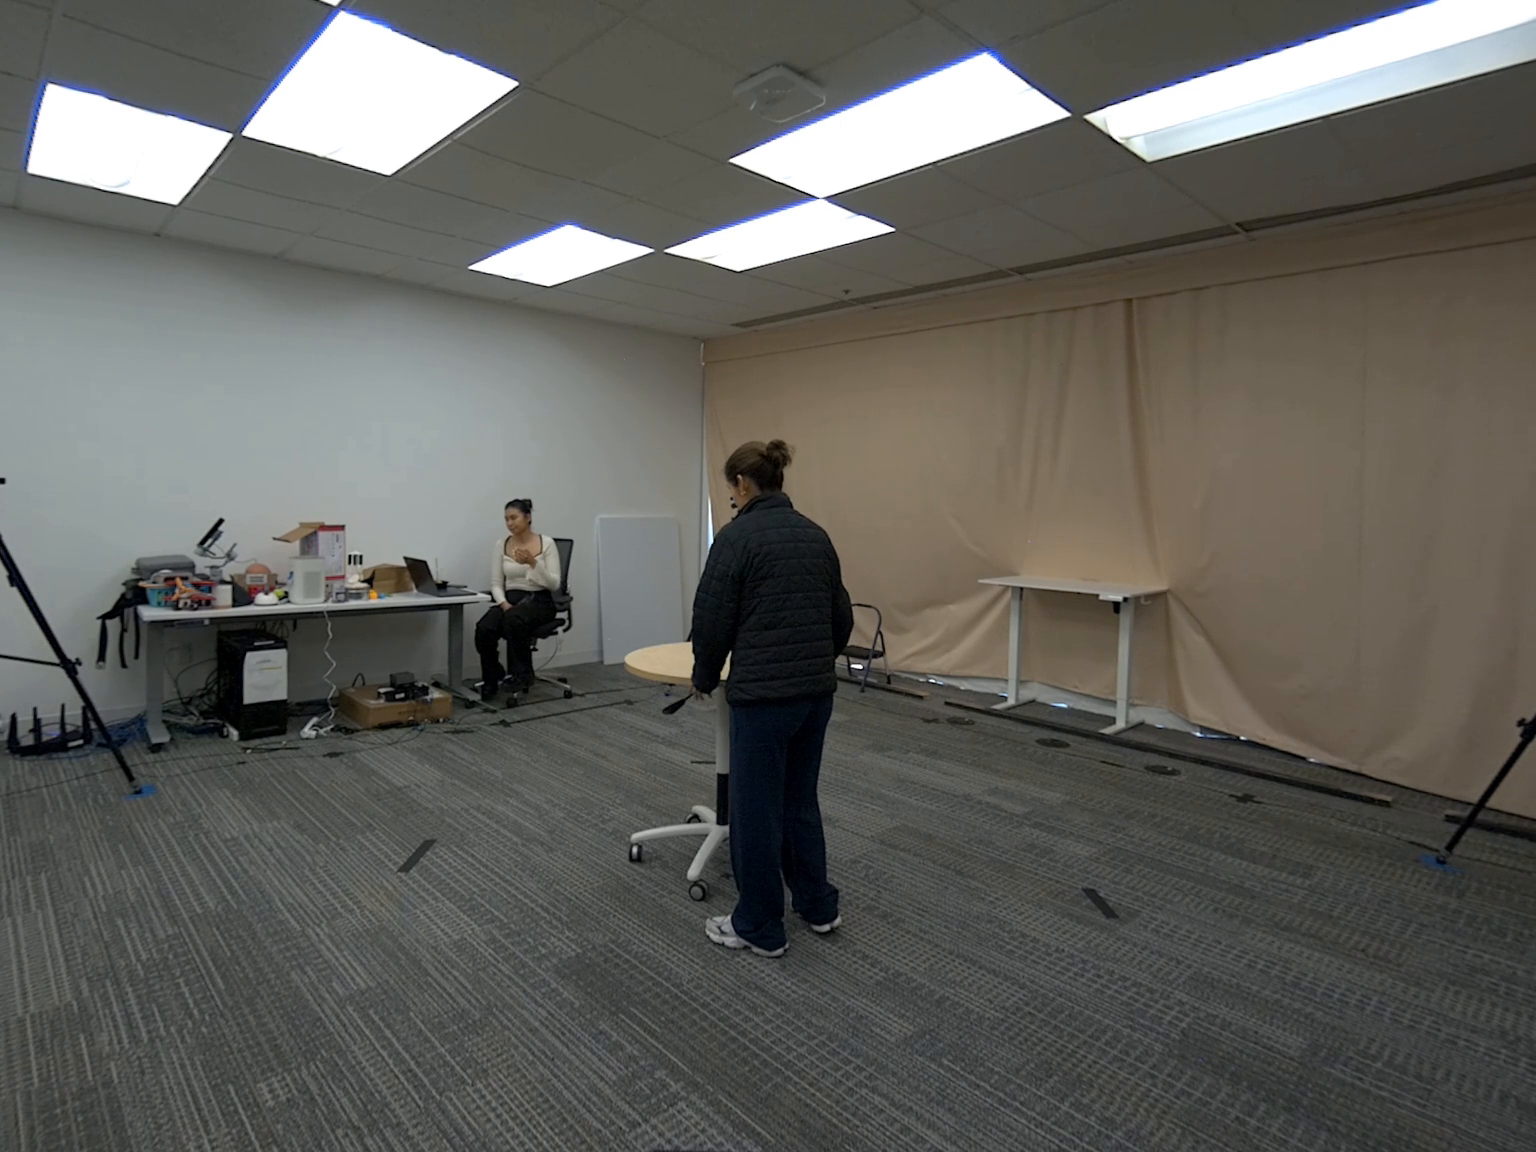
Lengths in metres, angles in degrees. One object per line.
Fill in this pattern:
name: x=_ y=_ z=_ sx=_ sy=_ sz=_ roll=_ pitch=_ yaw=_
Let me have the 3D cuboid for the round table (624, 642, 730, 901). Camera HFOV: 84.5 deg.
round table: x=-0.187 y=0.705 z=3.214 sx=0.784 sy=0.784 sz=0.788 roll=1 pitch=4 yaw=-1
